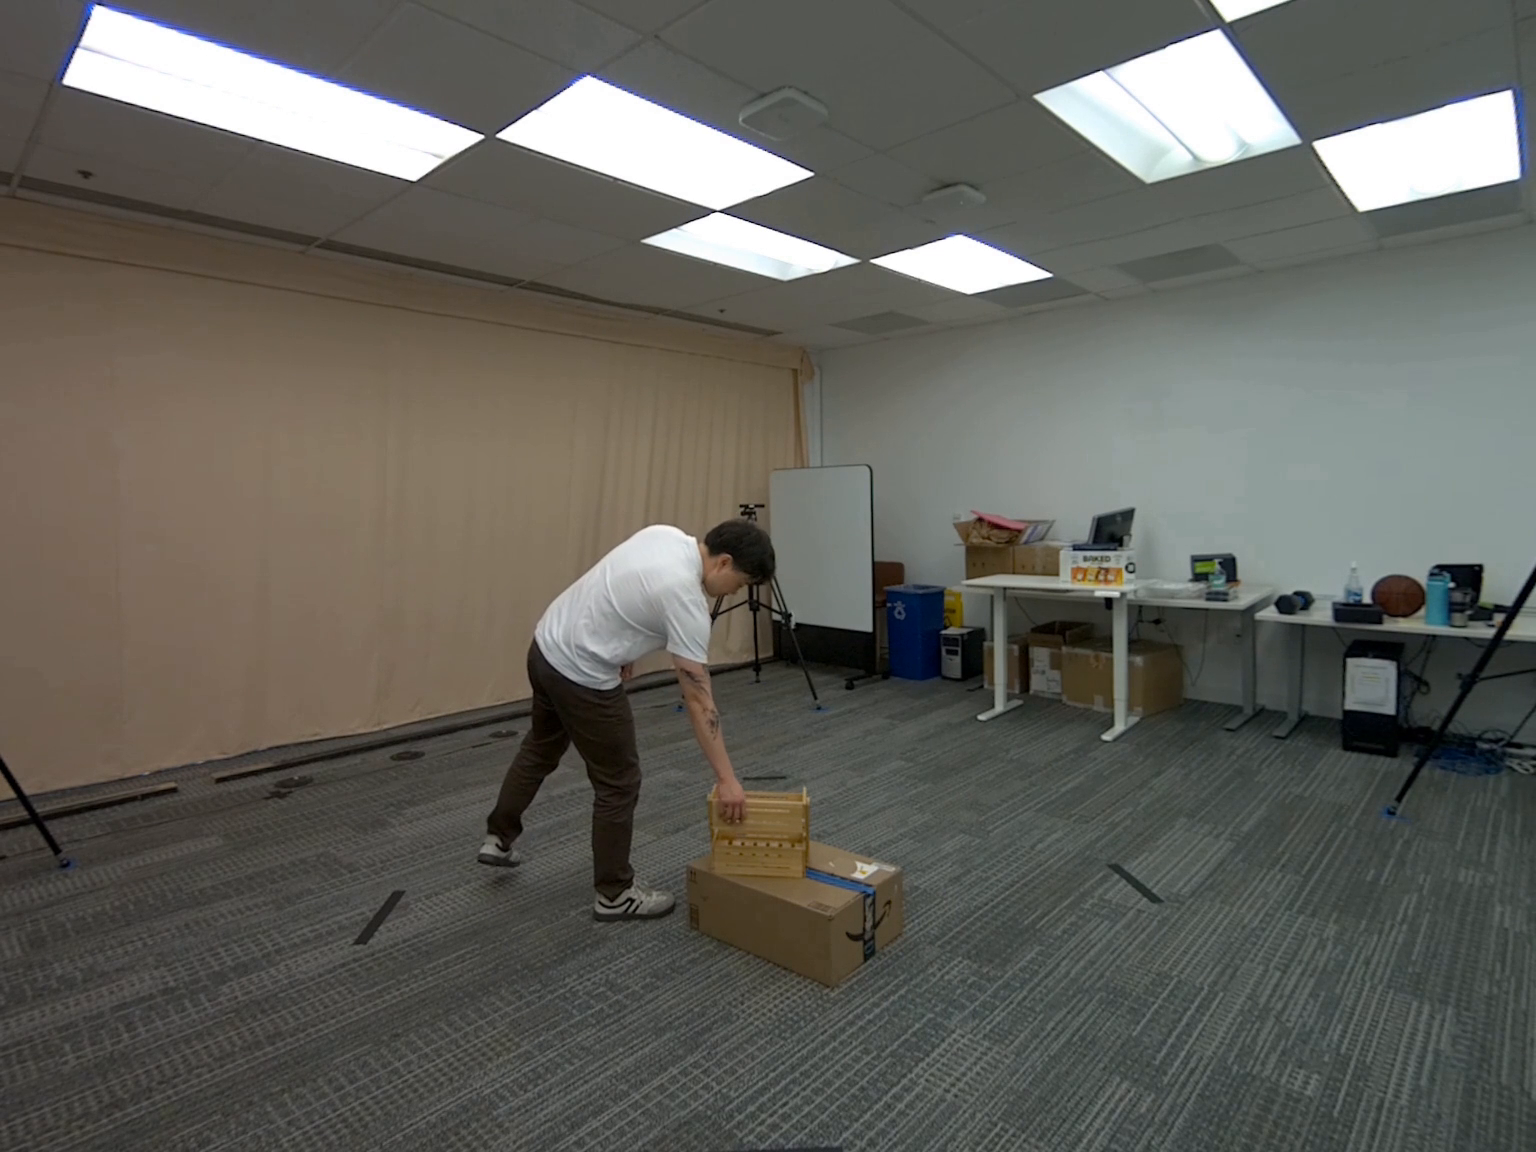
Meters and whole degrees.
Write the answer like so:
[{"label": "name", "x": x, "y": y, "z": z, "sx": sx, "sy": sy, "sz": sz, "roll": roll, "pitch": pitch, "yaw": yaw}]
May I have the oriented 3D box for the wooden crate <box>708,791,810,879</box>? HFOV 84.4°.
[{"label": "wooden crate", "x": -0.021, "y": 0.815, "z": 2.769, "sx": 0.326, "sy": 0.272, "sz": 0.301, "roll": 2, "pitch": 6, "yaw": 4}]
